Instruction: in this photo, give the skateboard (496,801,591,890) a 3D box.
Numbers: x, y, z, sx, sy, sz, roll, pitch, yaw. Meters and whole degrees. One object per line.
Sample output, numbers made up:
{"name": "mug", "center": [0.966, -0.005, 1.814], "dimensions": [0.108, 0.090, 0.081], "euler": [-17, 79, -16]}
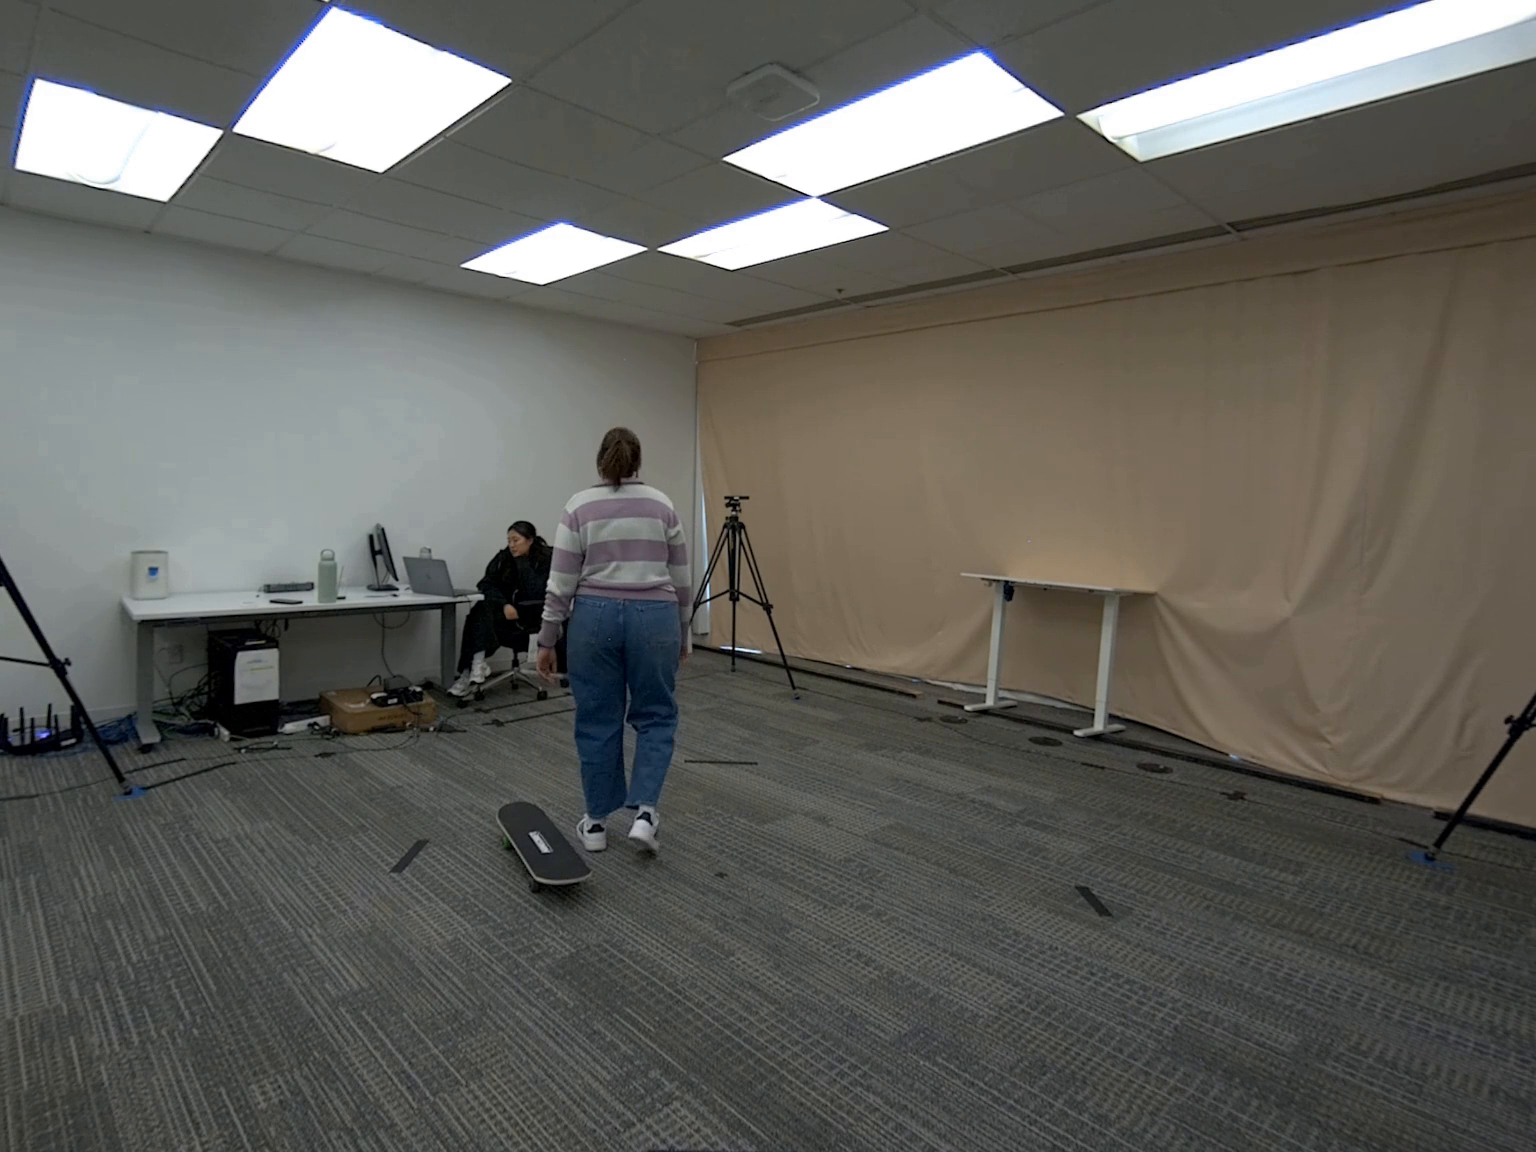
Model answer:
{"name": "skateboard", "center": [-0.854, 1.028, 3.148], "dimensions": [0.189, 0.110, 0.803], "euler": [0, 5, -29]}
